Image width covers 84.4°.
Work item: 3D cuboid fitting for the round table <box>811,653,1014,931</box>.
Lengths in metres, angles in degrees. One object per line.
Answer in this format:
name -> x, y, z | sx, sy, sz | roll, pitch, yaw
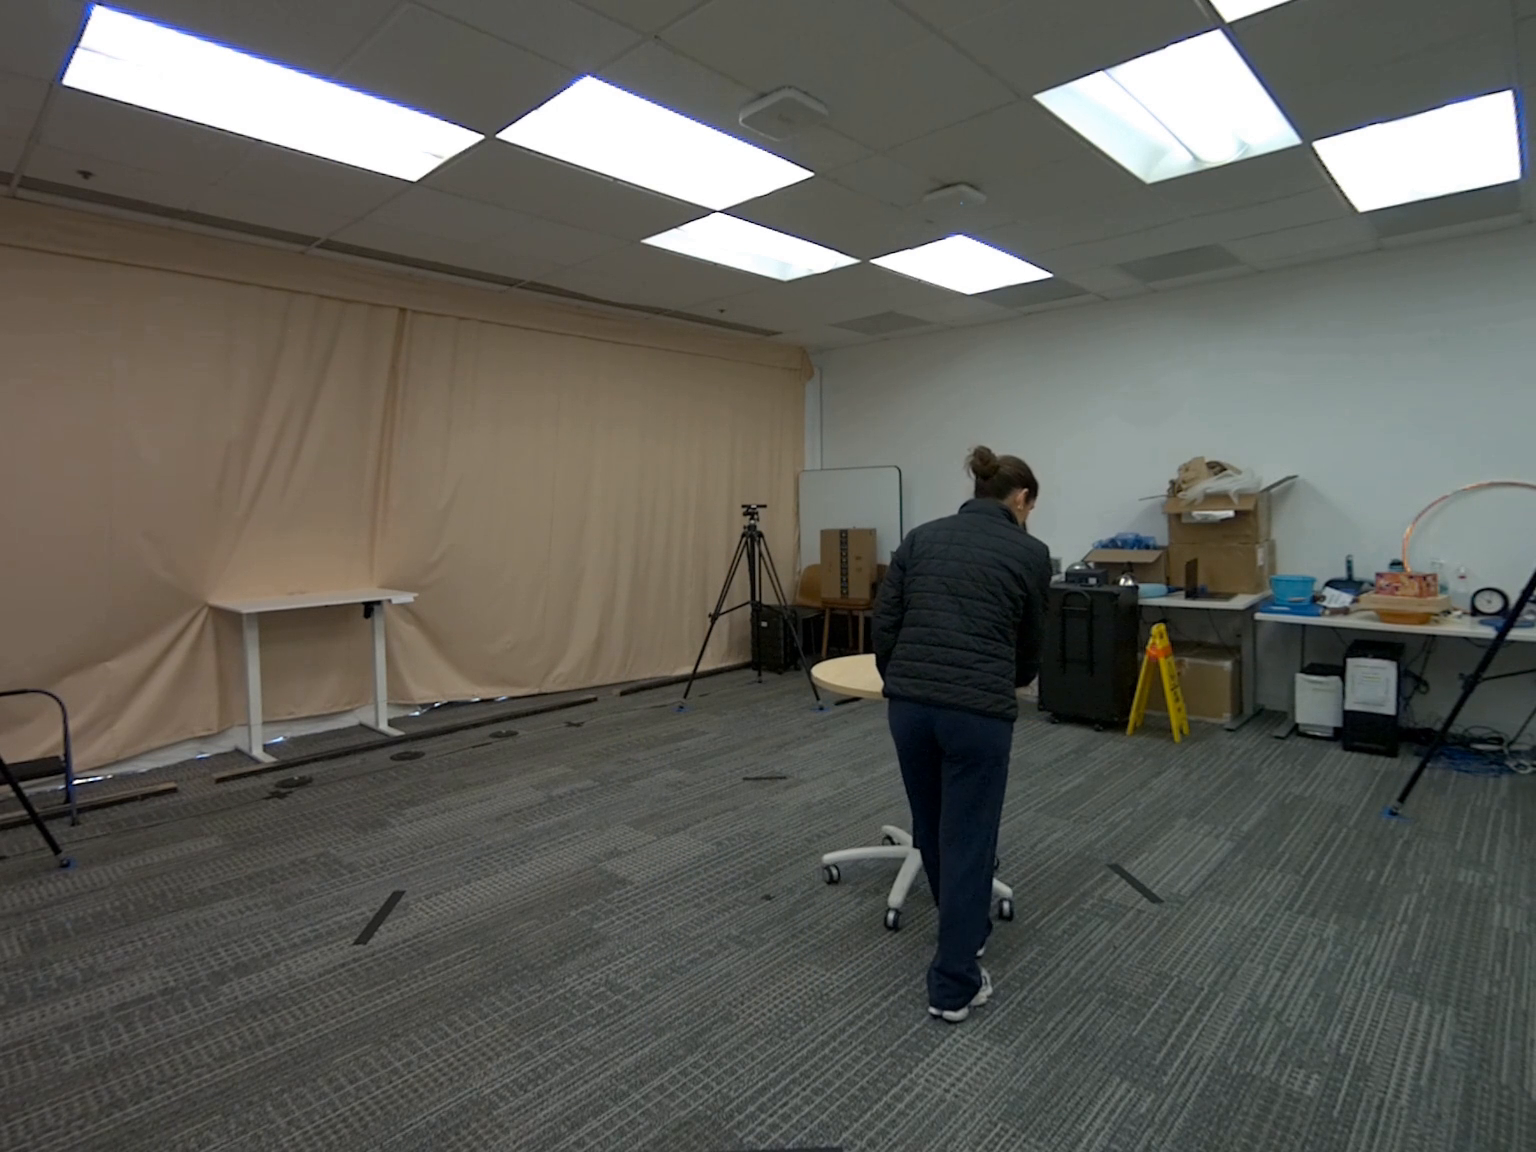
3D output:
round table -> 0.574, 0.733, 3.029 | 0.784, 0.785, 0.788 | -1, 4, -2
